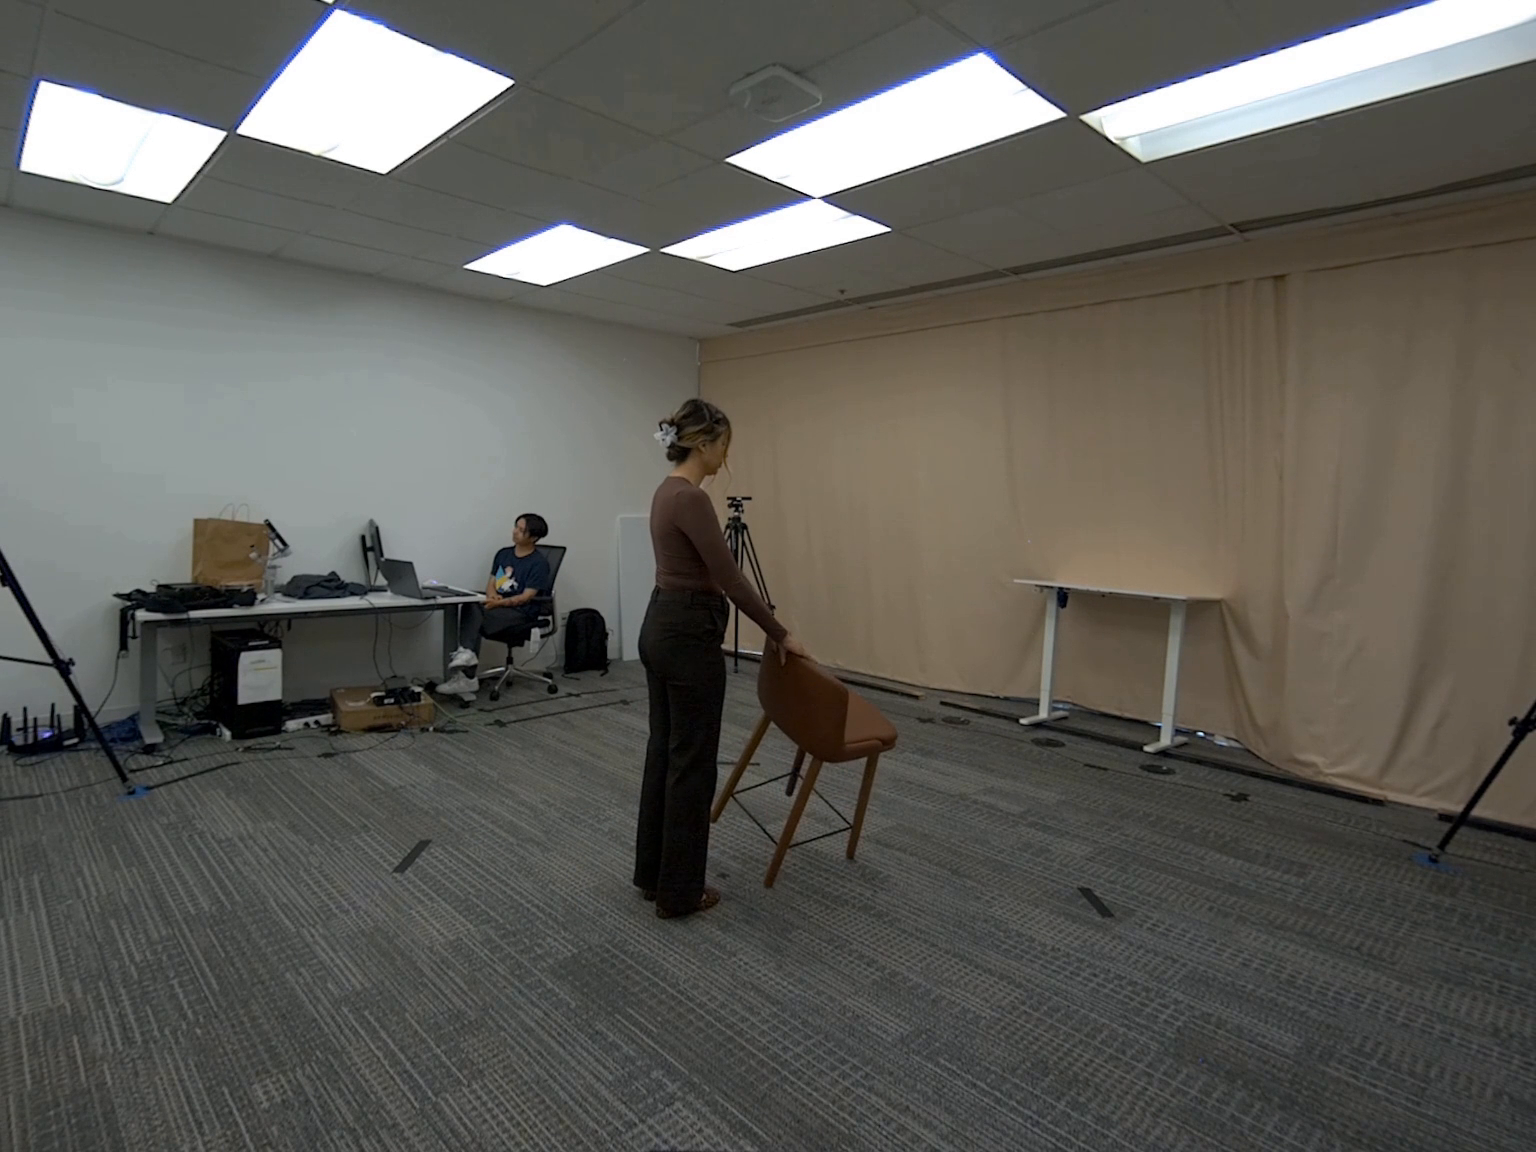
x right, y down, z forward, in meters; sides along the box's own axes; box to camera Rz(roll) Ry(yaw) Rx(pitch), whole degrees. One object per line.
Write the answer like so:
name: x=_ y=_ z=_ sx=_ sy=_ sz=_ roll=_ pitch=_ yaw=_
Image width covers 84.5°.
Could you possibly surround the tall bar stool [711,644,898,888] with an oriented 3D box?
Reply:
tall bar stool: x=0.155 y=0.636 z=3.123 sx=0.457 sy=0.880 sz=0.471 roll=-5 pitch=30 yaw=-41
